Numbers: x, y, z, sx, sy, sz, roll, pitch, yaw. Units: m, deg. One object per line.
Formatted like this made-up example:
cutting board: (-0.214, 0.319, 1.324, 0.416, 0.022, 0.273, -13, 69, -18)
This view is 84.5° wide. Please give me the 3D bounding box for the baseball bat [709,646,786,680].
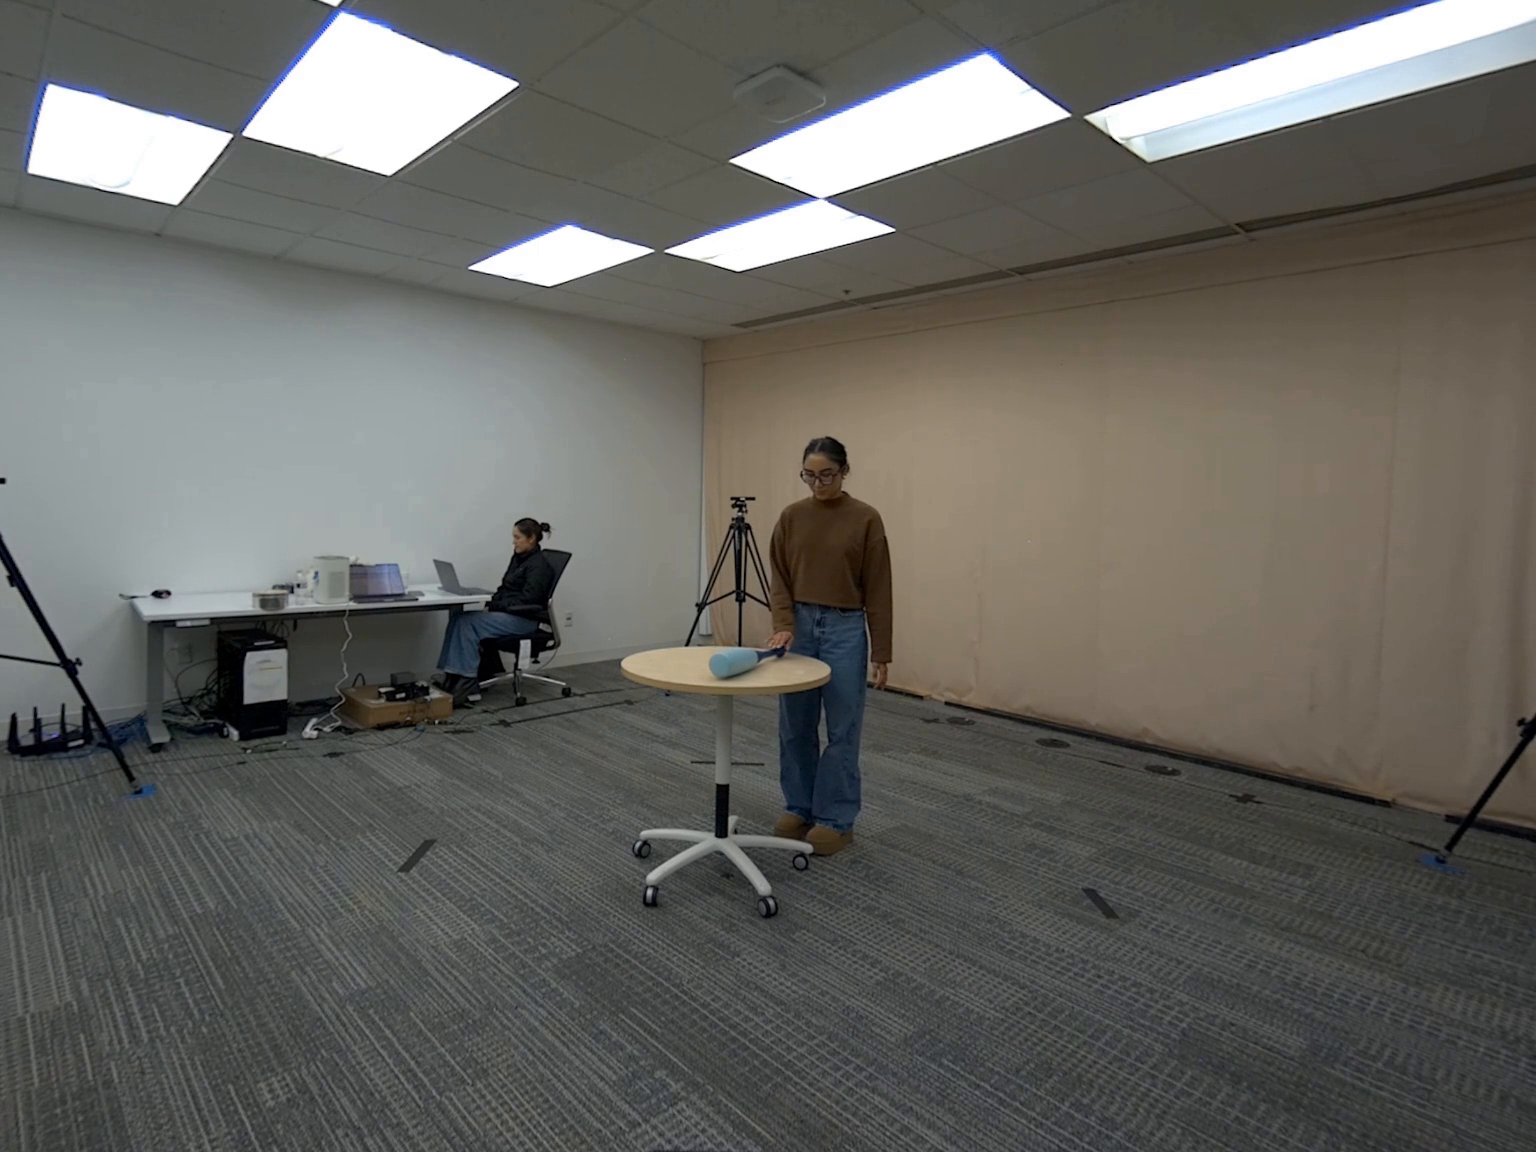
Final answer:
baseball bat: (-0.063, 0.298, 3.030, 0.091, 0.089, 0.533, 3, 2, 23)
